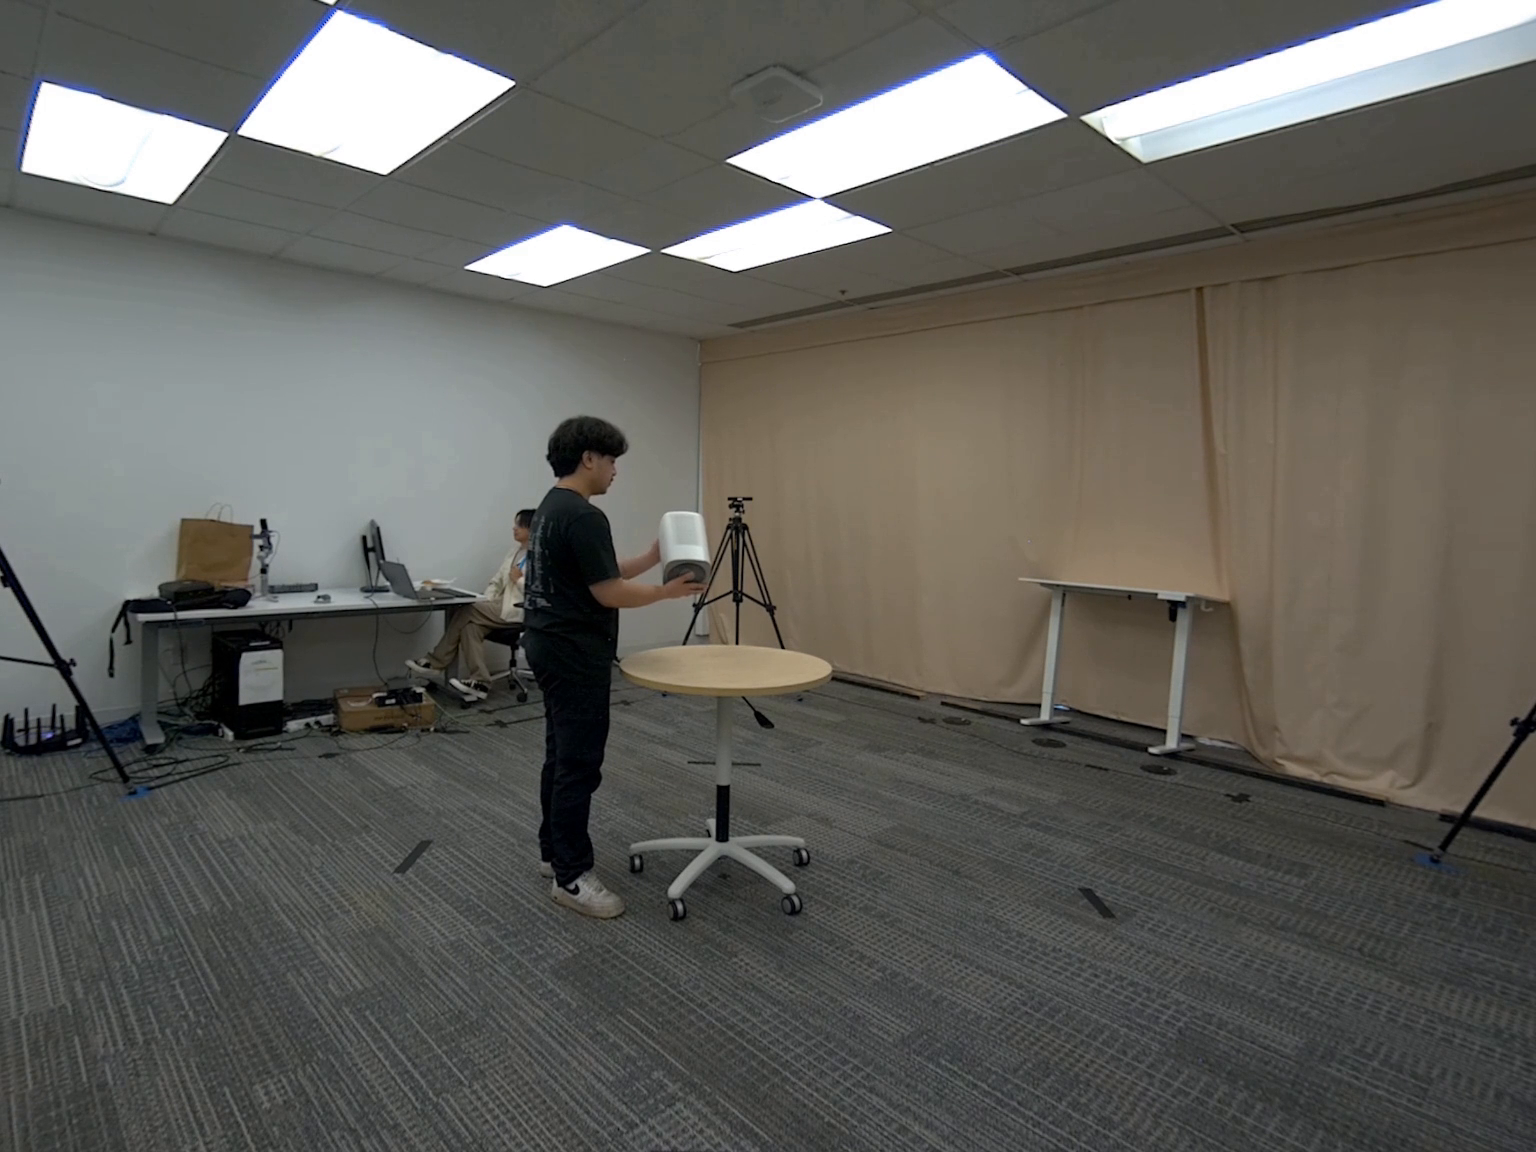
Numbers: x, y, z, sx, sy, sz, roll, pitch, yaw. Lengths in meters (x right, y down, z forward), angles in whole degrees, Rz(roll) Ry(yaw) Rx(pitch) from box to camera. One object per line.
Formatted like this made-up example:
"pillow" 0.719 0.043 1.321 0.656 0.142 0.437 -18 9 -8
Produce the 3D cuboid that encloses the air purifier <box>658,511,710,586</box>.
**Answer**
"air purifier" -0.324 -0.102 3.125 0.170 0.168 0.272 1 47 -13
